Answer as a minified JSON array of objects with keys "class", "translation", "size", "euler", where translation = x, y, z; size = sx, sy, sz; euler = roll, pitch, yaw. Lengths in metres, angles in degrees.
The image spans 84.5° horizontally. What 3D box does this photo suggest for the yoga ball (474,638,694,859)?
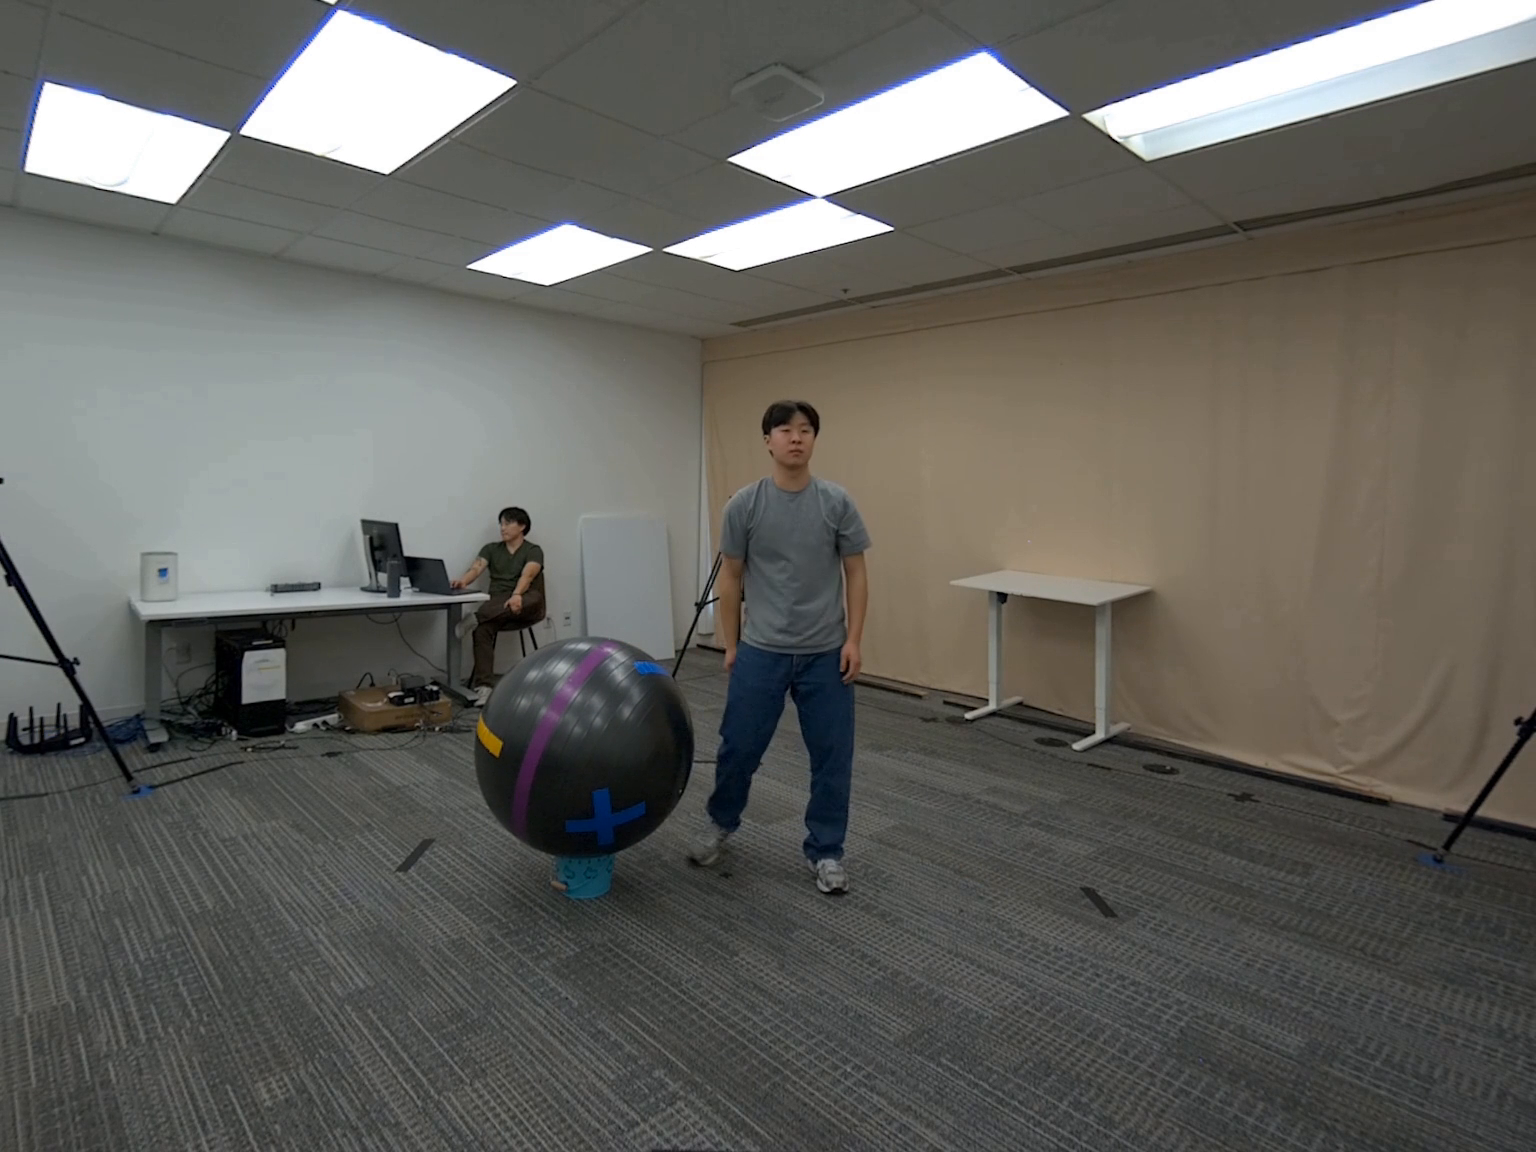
[{"class":"yoga ball","translation":[-0.654,0.599,2.961],"size":[0.757,0.756,0.761],"euler":[1,4,-1]}]
